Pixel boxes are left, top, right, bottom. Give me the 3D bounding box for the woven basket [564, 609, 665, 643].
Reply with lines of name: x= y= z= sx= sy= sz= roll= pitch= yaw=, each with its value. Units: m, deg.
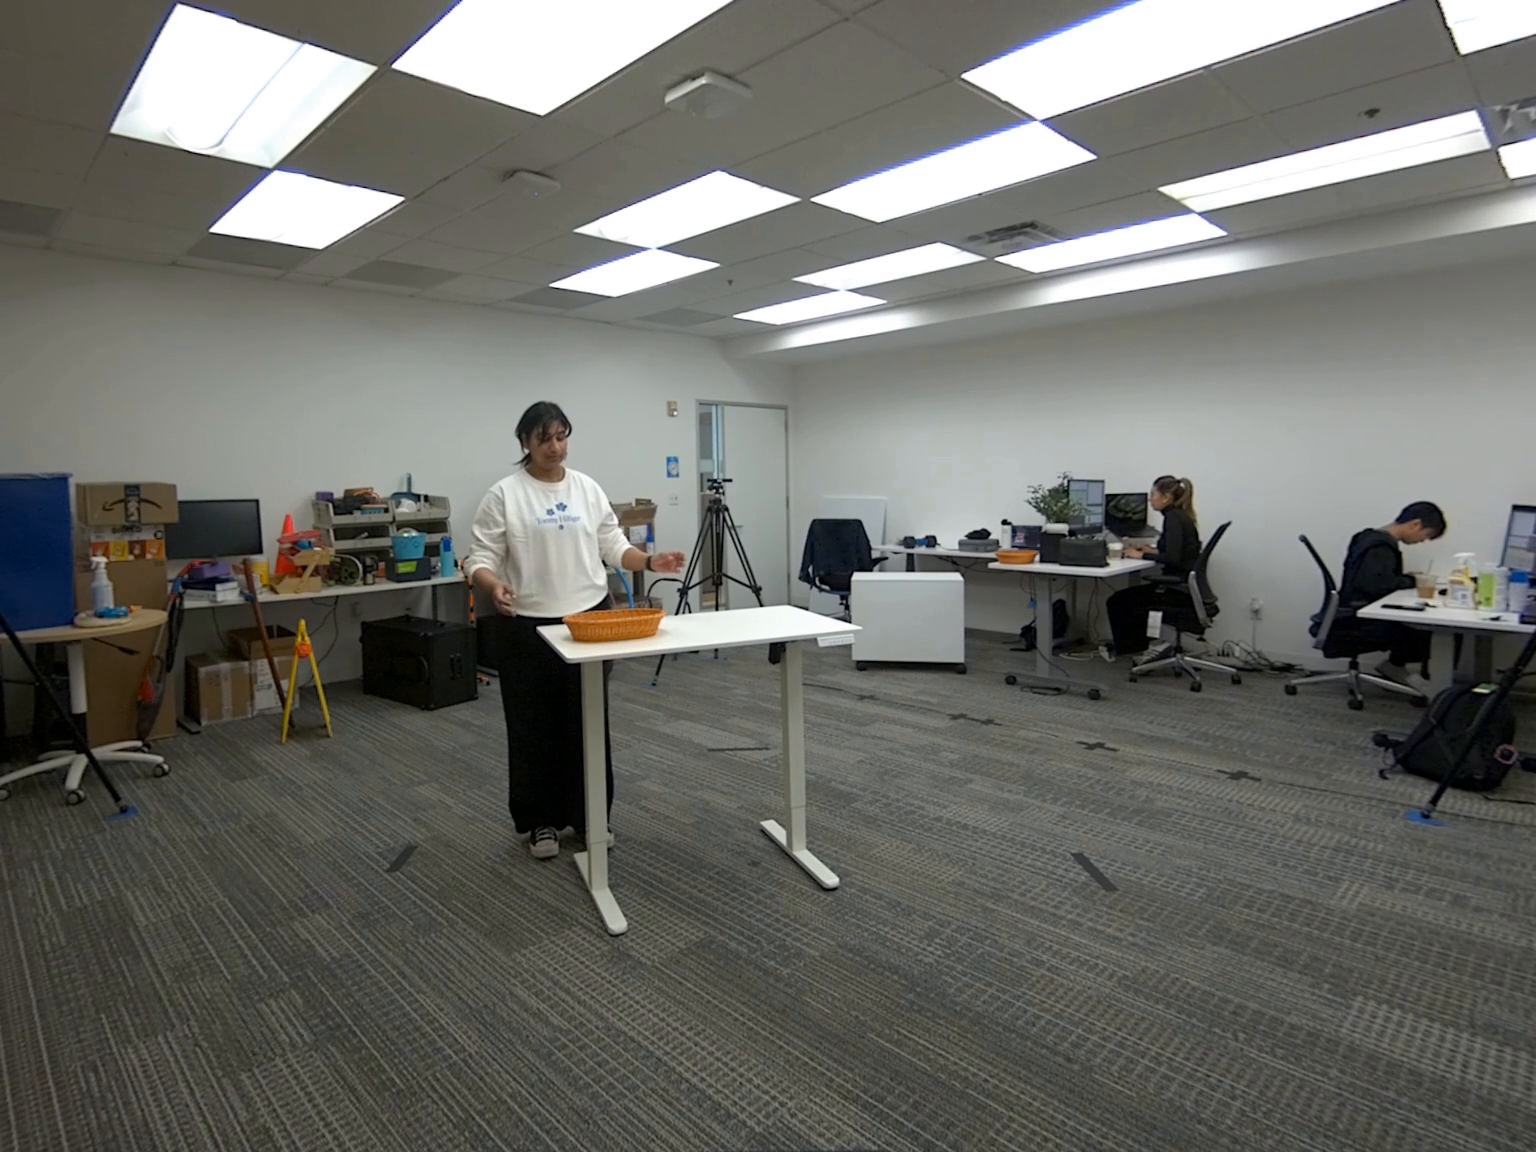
woven basket: x=-0.506 y=0.178 z=2.884 sx=0.343 sy=0.073 sz=0.258 roll=-1 pitch=6 yaw=-22
